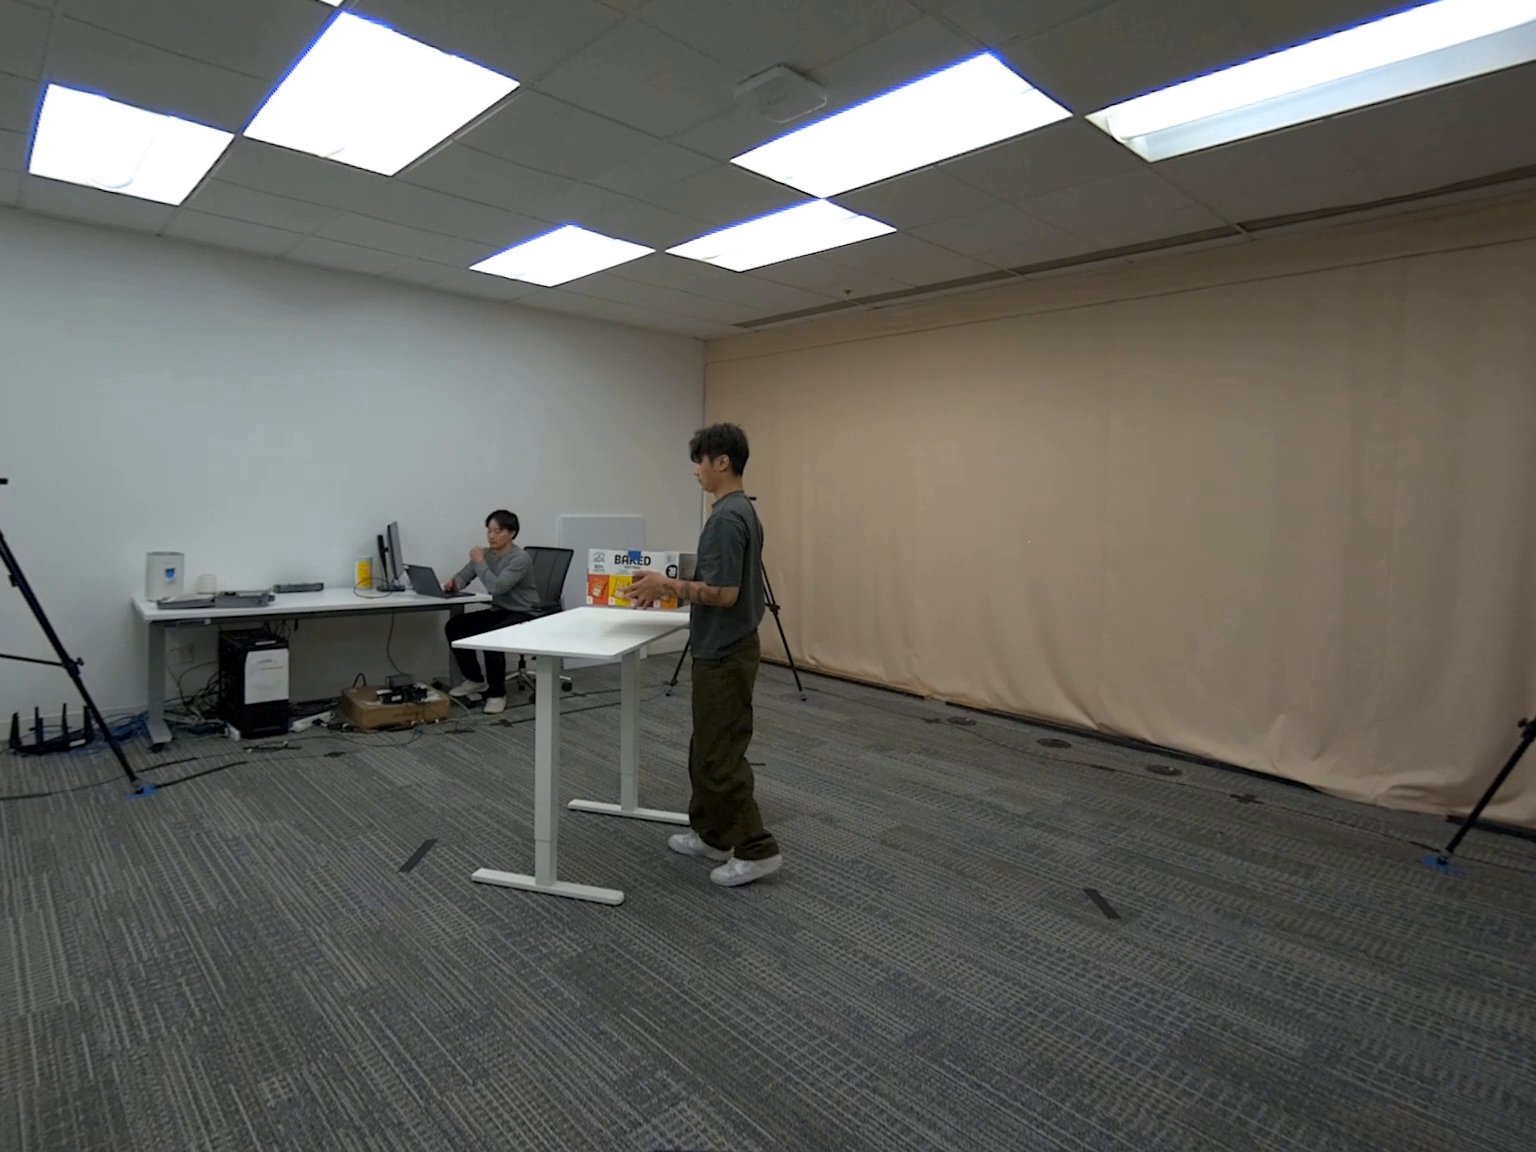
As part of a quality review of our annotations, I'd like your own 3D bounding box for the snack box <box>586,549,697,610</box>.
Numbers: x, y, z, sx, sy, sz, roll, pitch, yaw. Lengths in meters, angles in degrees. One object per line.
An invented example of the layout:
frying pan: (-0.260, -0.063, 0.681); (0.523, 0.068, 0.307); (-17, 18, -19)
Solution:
snack box: (-0.467, 0.004, 3.220); (0.343, 0.205, 0.402); (3, 1, 8)
